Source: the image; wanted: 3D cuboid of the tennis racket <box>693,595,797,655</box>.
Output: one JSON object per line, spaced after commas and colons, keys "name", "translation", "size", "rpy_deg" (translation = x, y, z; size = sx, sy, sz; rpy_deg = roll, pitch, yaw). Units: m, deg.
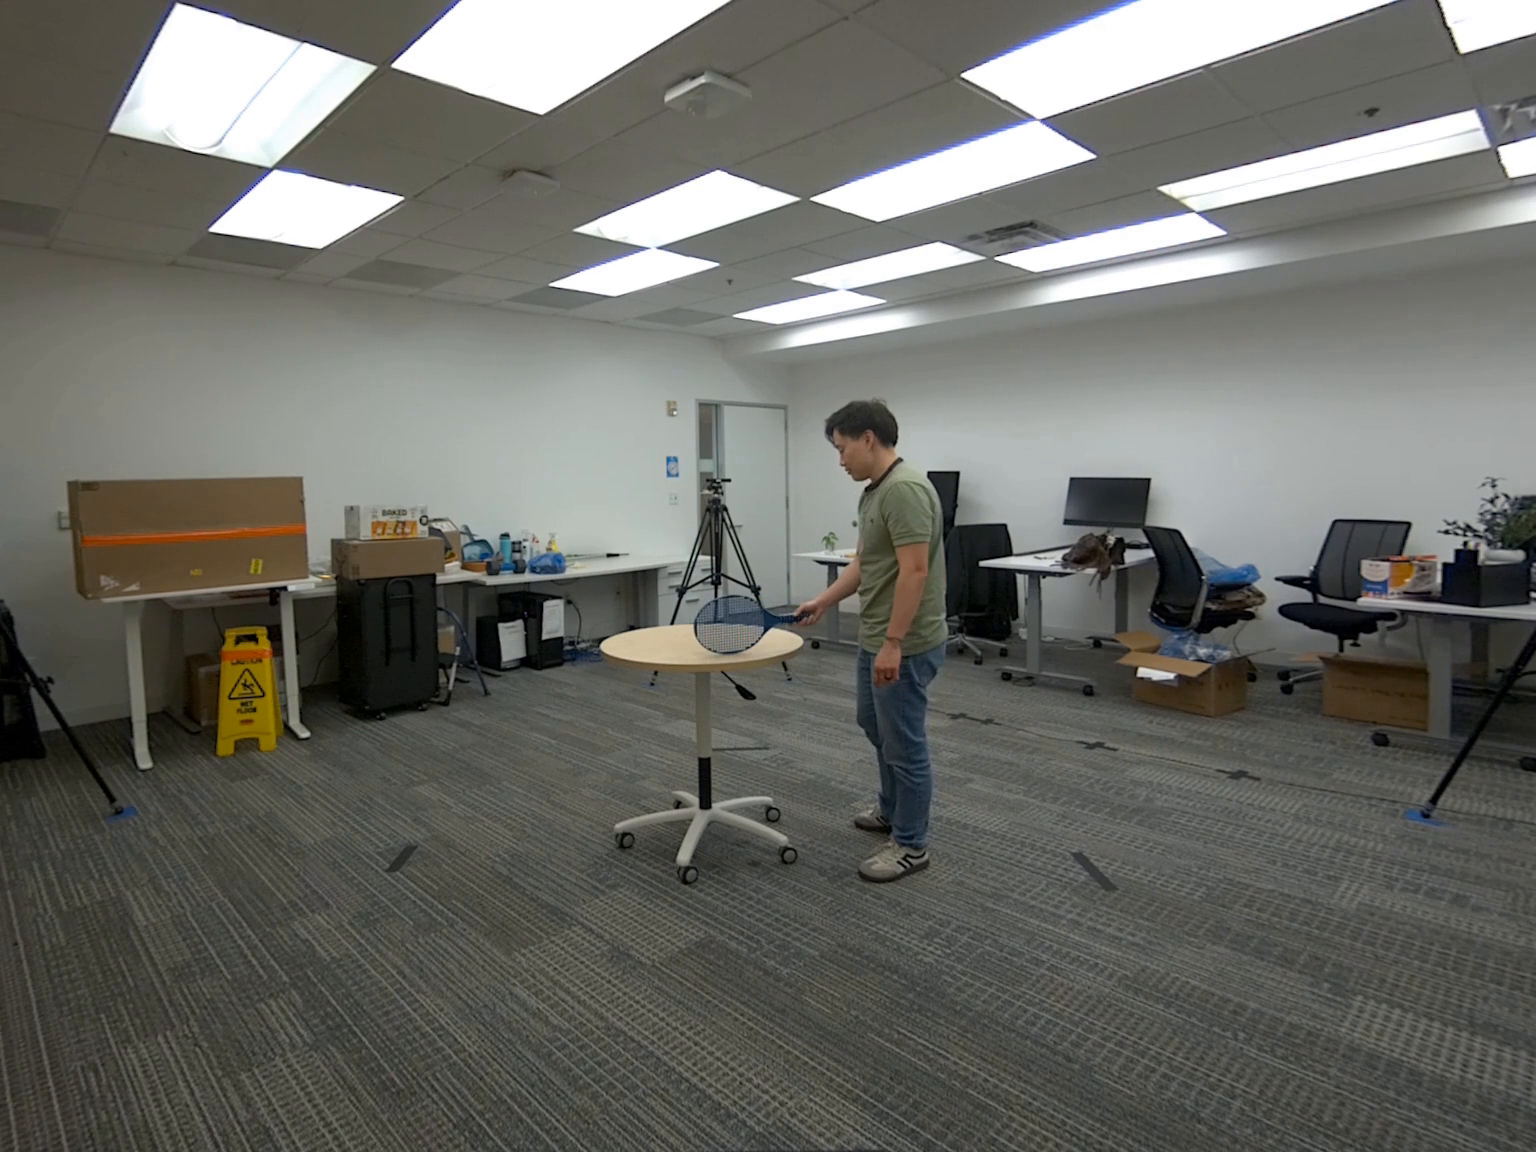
{"name": "tennis racket", "translation": [-0.044, 0.167, 3.008], "size": [0.429, 0.209, 0.033], "rpy_deg": [-5, 25, -9]}
